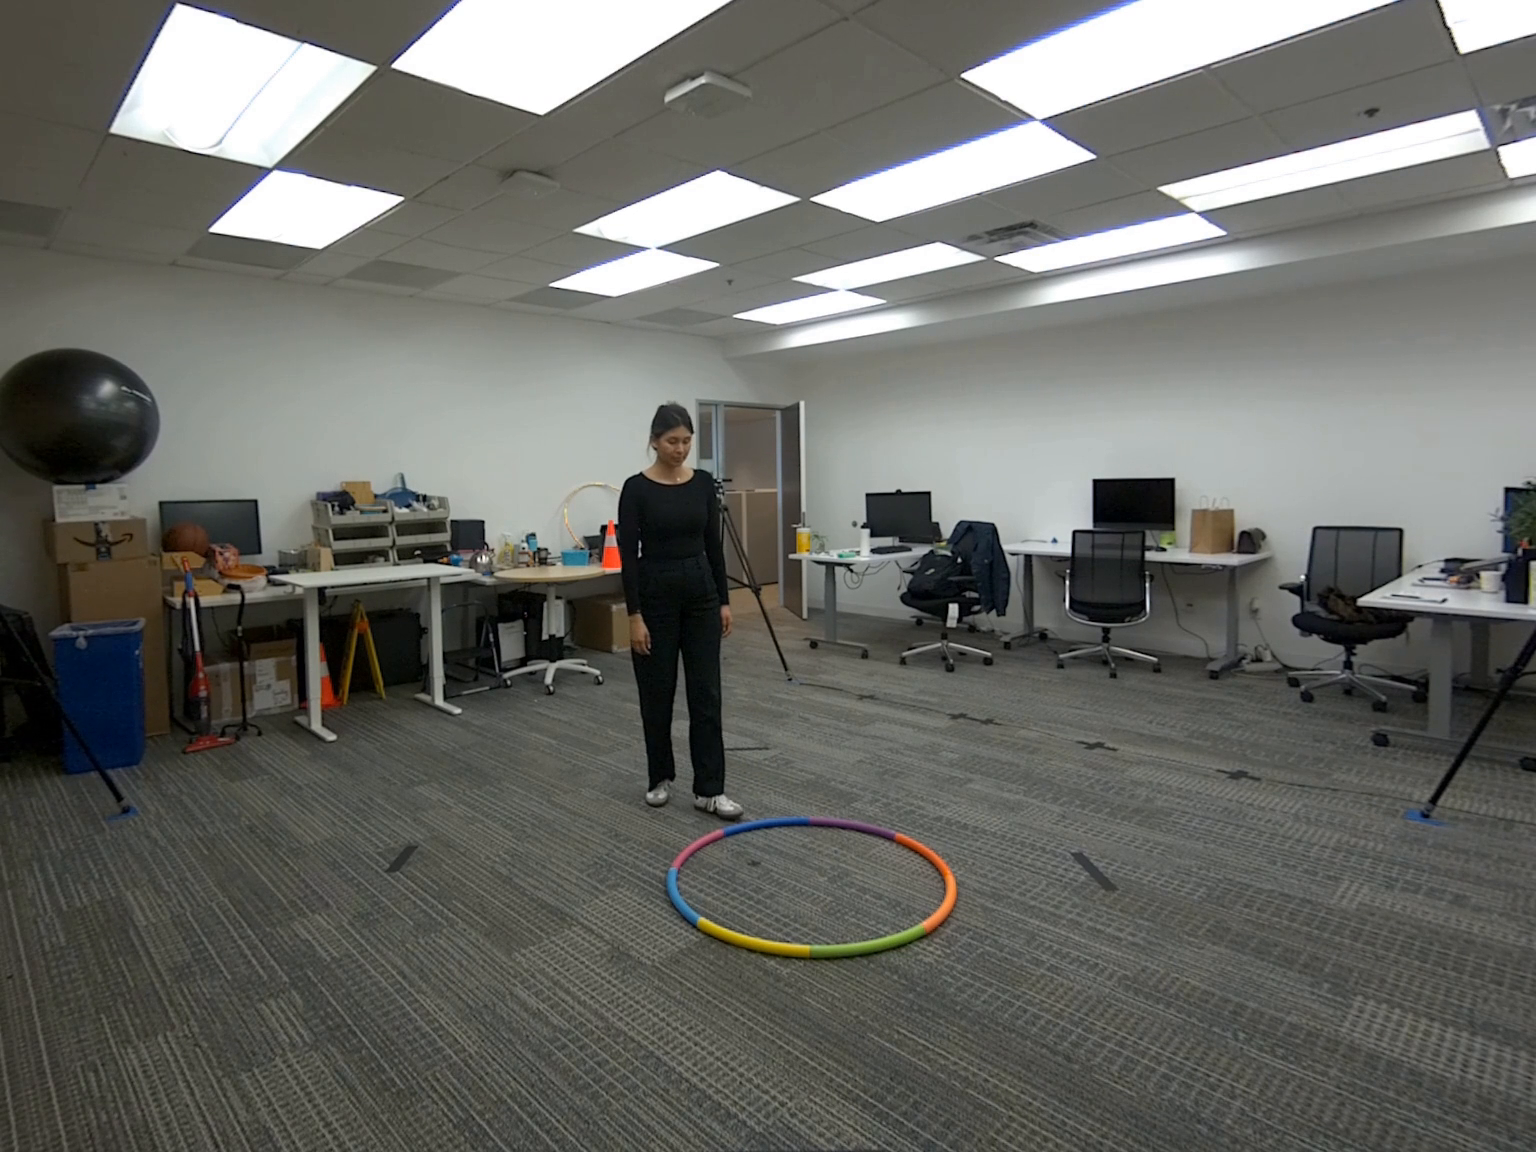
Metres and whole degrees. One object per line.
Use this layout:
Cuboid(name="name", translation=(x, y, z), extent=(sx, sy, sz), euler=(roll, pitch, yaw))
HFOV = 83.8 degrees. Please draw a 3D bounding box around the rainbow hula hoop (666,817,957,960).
Cuboid(name="rainbow hula hoop", translation=(0.143, 1.030, 2.962), extent=(0.978, 0.035, 0.984), euler=(-2, 6, -2))
